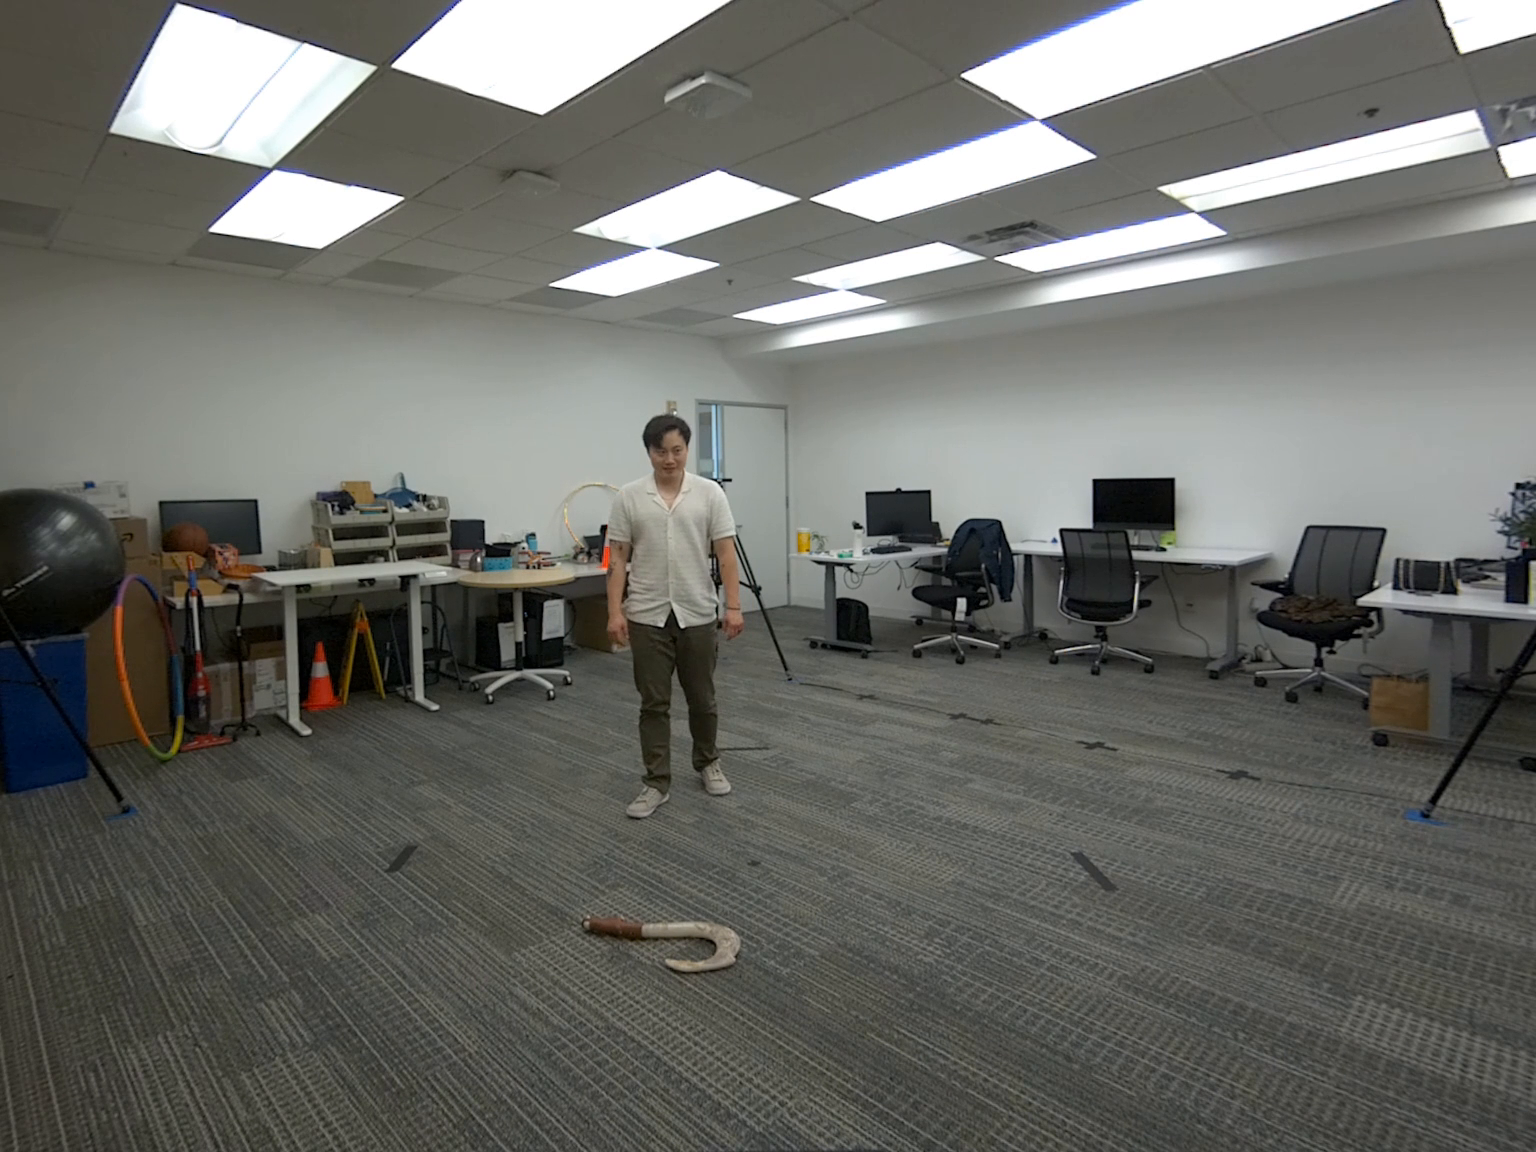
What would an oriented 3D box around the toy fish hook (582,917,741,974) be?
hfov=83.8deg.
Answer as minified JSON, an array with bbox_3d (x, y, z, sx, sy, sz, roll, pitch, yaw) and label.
[{"bbox_3d":[-0.336,1.092,2.555,0.513,0.048,0.222,0,5,13],"label":"toy fish hook"}]
